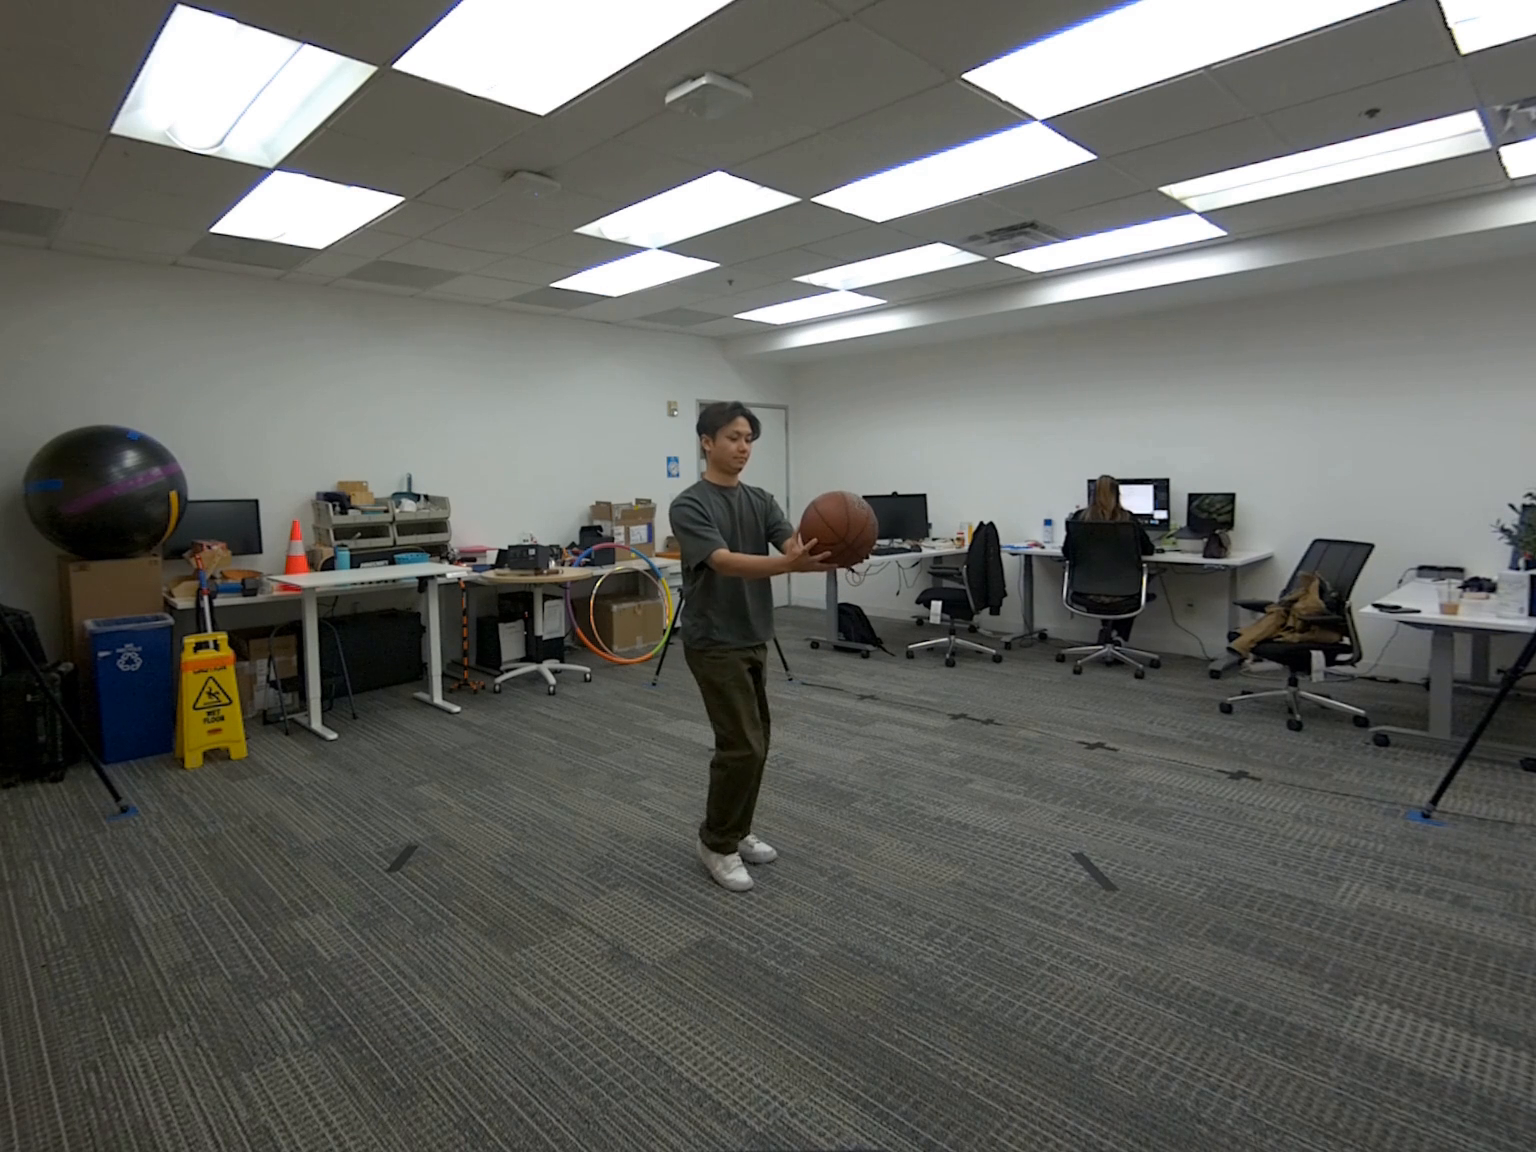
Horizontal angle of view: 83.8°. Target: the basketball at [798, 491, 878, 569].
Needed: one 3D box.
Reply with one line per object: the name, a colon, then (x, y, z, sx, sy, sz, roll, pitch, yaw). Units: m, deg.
basketball: (0.222, -0.139, 2.629, 0.236, 0.235, 0.237, -1, 5, -2)
